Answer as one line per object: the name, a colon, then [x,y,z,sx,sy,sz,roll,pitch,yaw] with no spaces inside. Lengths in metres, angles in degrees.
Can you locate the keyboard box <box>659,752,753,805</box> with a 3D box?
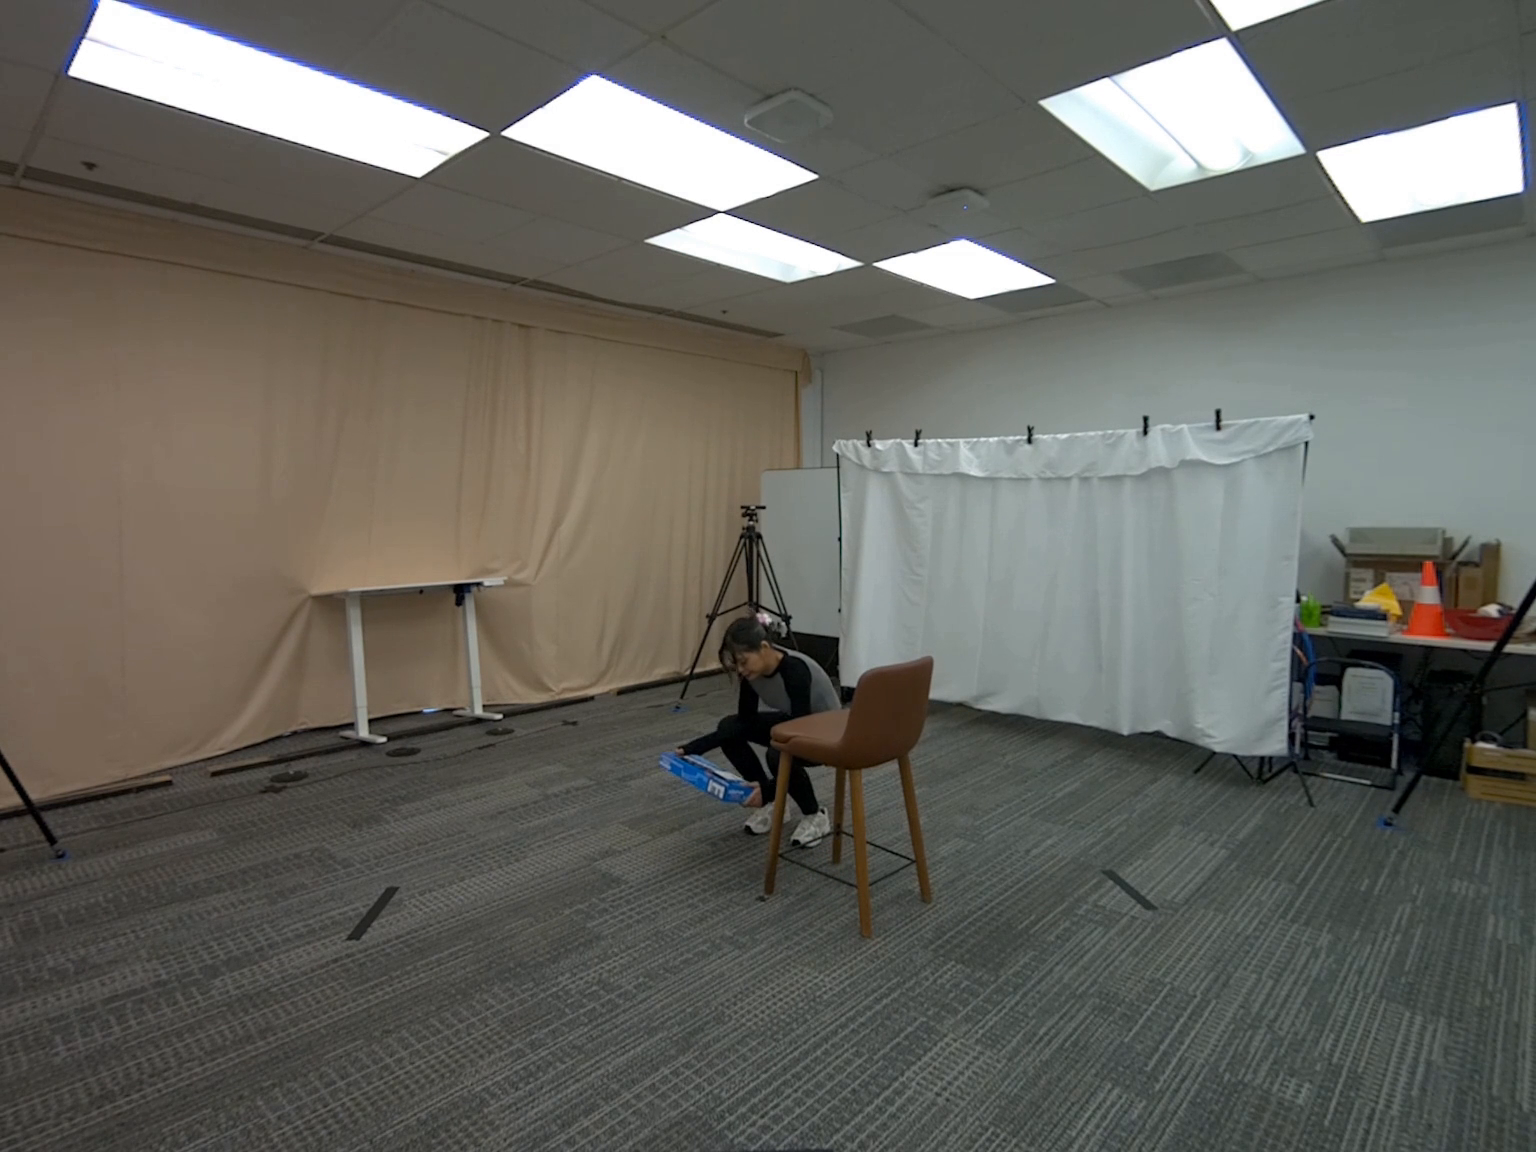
keyboard box: [-0.227,0.778,3.271,0.170,0.059,0.452,14,-2,-40]
